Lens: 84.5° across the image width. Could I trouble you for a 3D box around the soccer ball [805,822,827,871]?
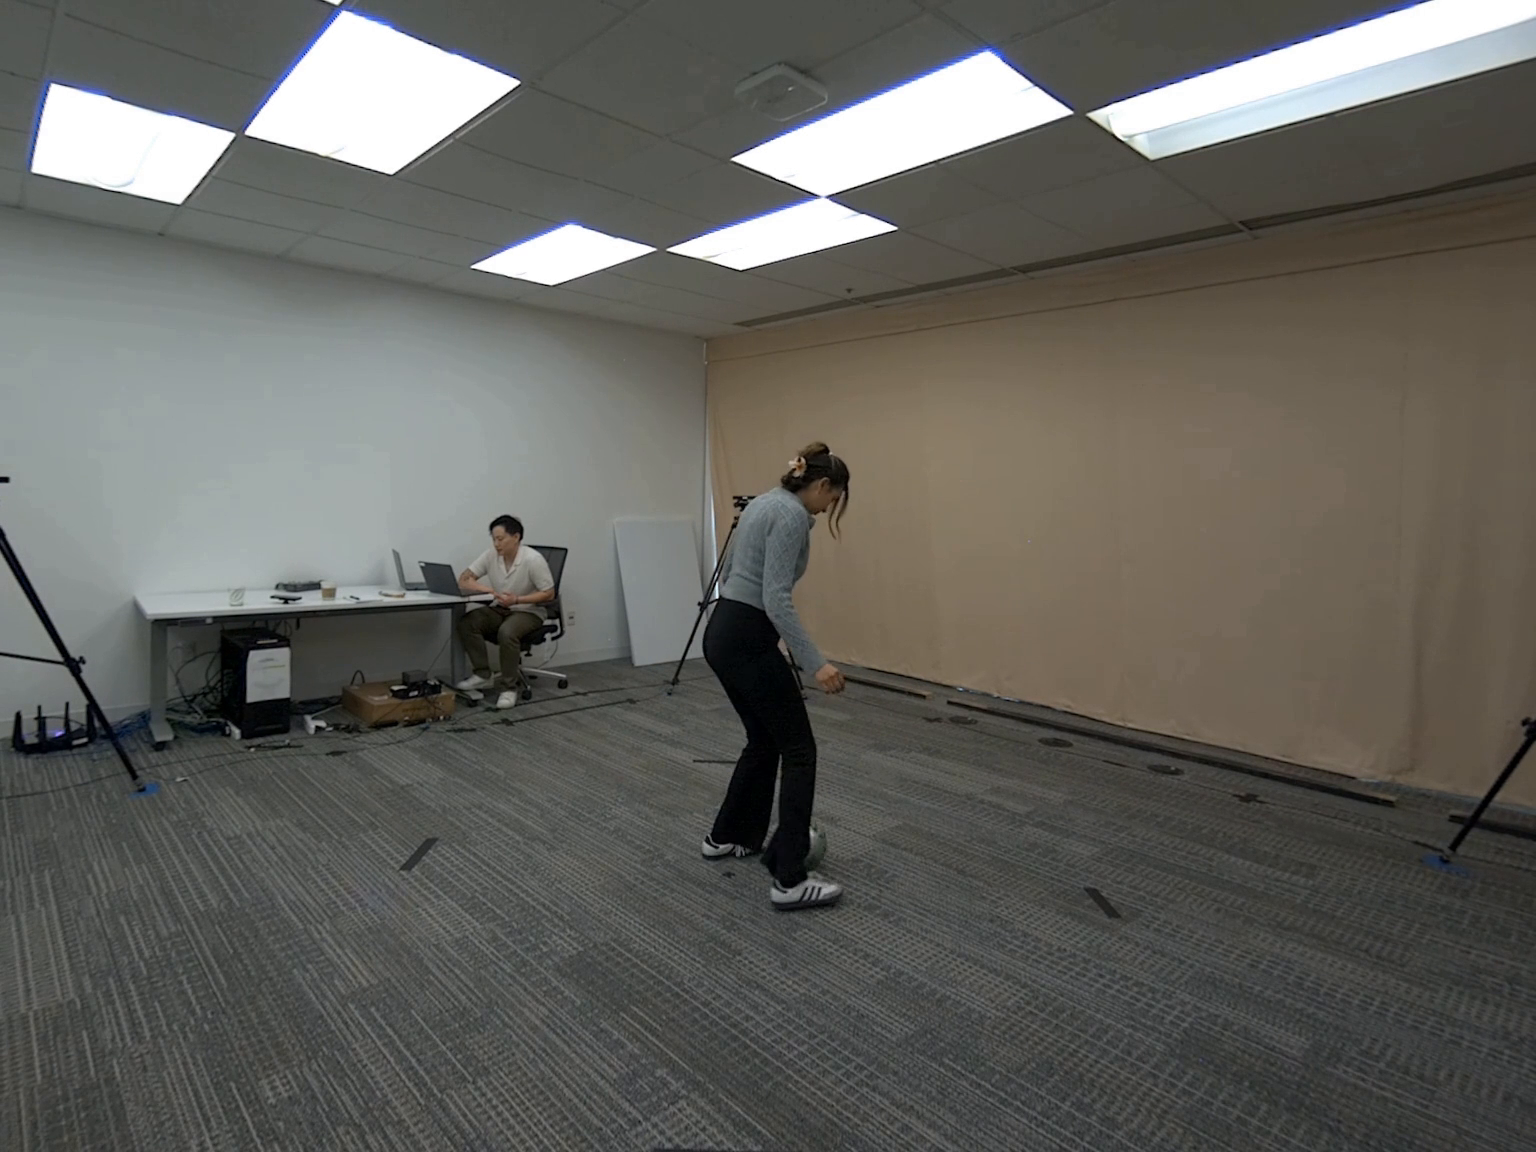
[{"bbox_3d":[0.122,1.013,3.174,0.187,0.187,0.188,1,4,-1],"label":"soccer ball"}]
